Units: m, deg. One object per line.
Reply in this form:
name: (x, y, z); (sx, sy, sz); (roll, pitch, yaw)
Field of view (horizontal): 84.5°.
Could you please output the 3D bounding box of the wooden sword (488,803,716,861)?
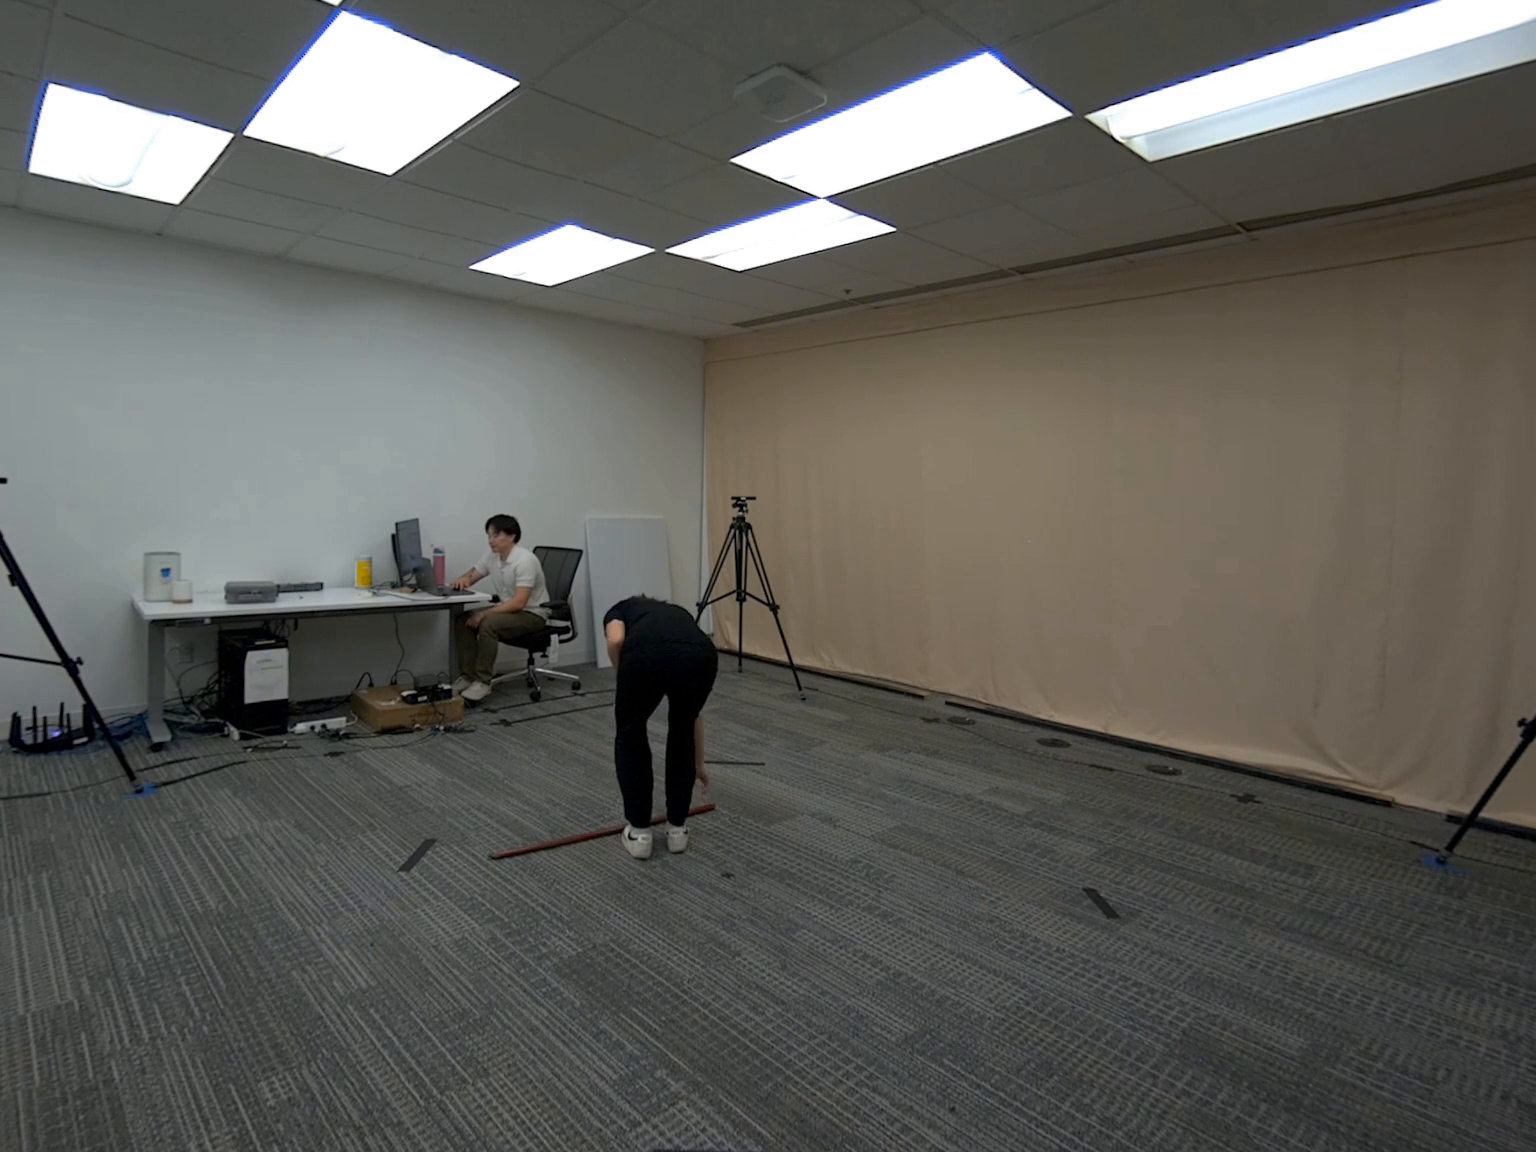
wooden sword: (-0.650, 1.042, 3.470); (1.002, 0.024, 0.053); (-2, 19, -35)
